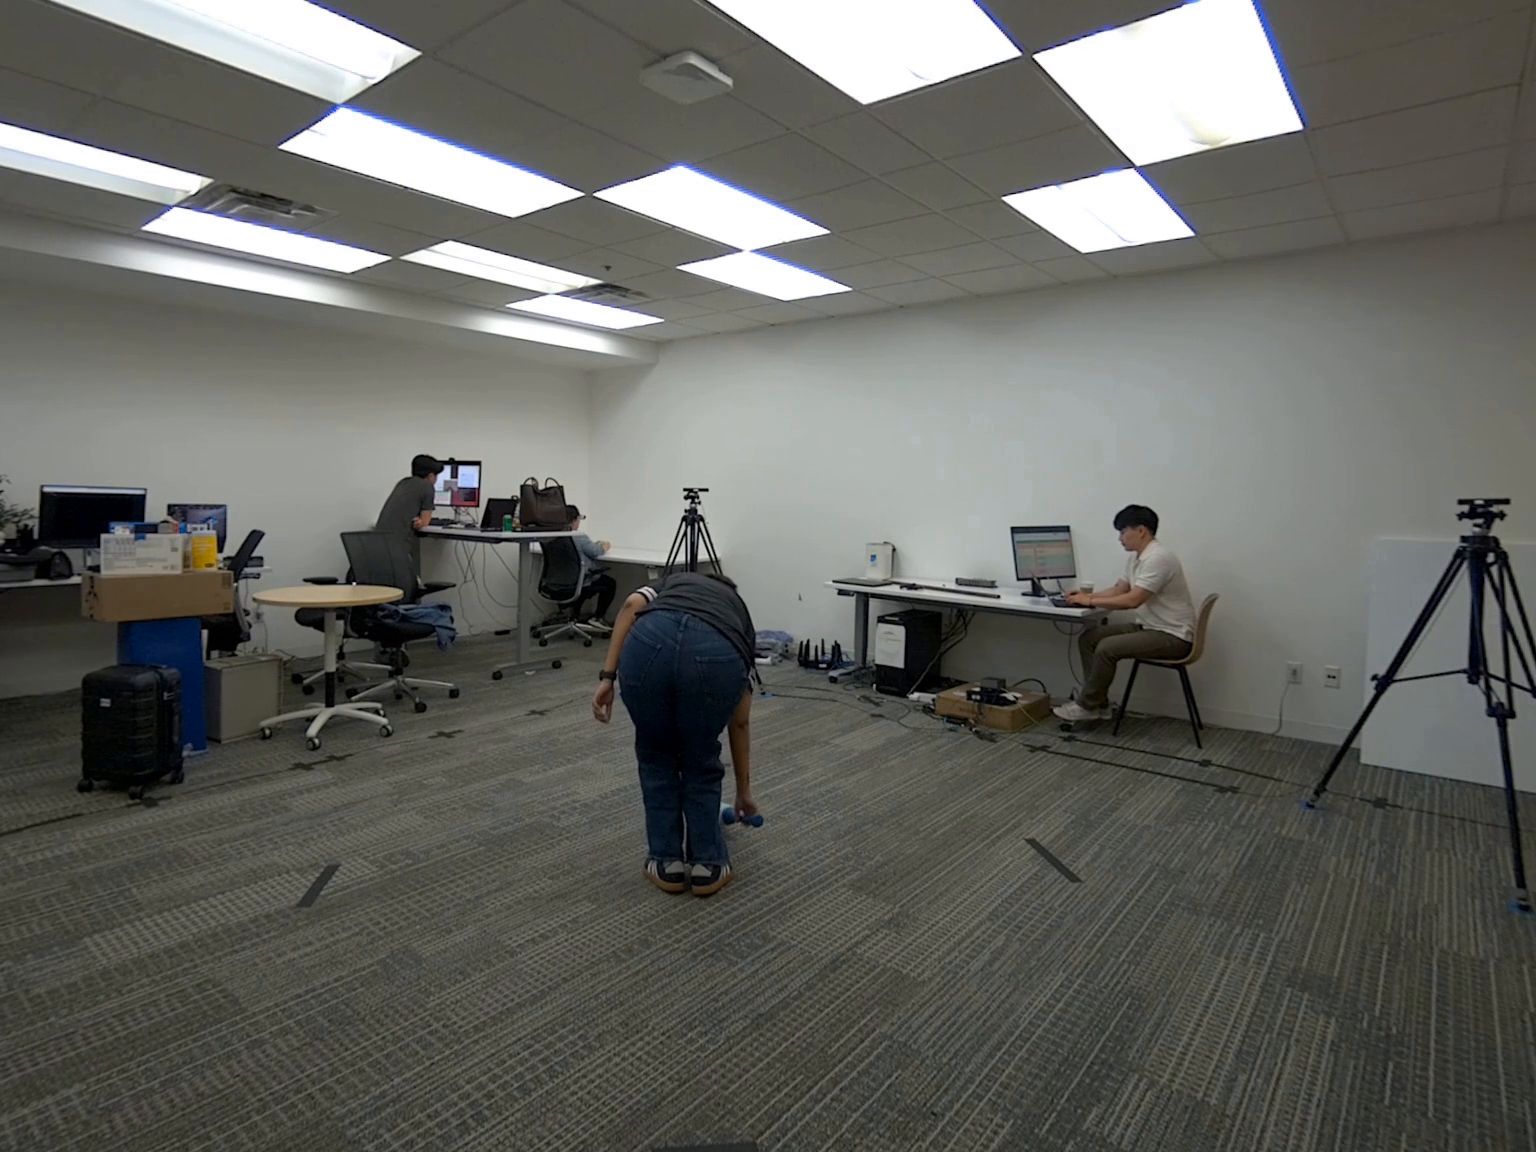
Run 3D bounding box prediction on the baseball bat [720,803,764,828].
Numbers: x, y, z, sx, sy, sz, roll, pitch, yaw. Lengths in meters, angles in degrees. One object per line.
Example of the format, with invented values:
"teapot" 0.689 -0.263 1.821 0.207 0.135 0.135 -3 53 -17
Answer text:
"baseball bat" -0.140 0.940 3.342 0.087 0.090 0.549 0 -9 -23
